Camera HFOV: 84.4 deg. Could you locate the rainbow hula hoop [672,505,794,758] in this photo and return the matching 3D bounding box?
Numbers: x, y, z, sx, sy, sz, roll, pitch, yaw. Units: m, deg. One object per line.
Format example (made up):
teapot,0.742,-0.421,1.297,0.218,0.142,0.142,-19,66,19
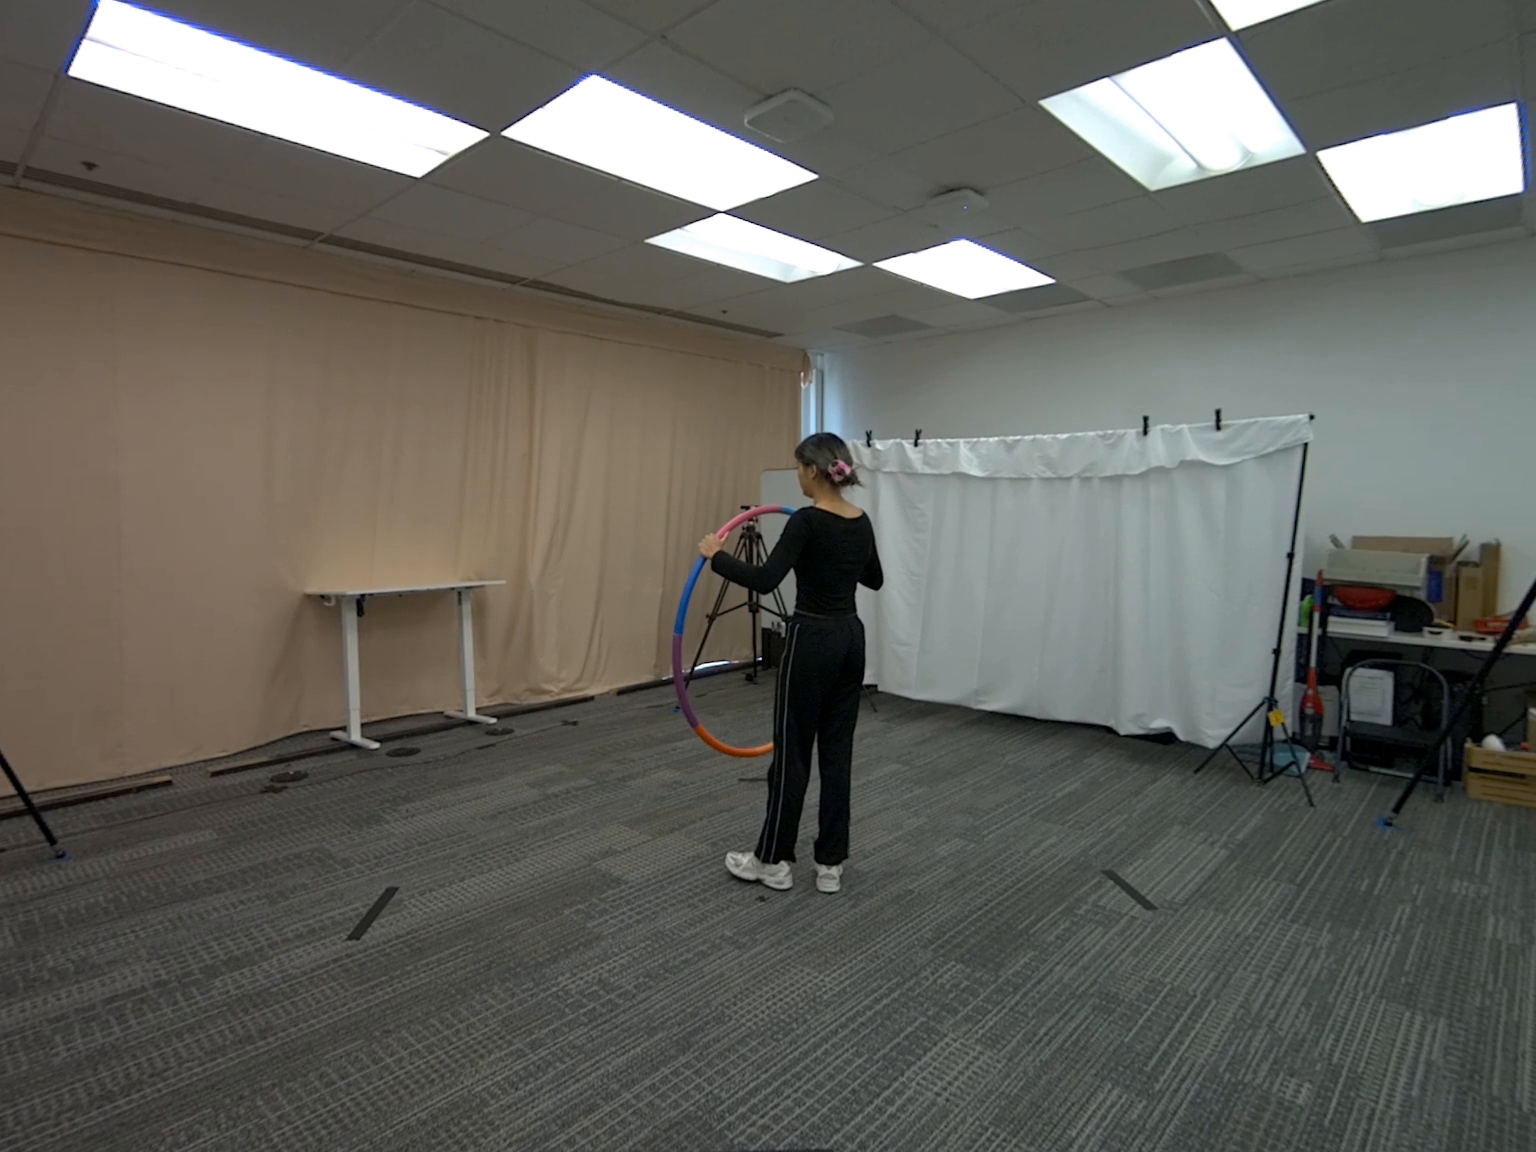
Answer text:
rainbow hula hoop,-0.001,0.215,3.311,0.948,0.975,0.037,-3,9,-44
